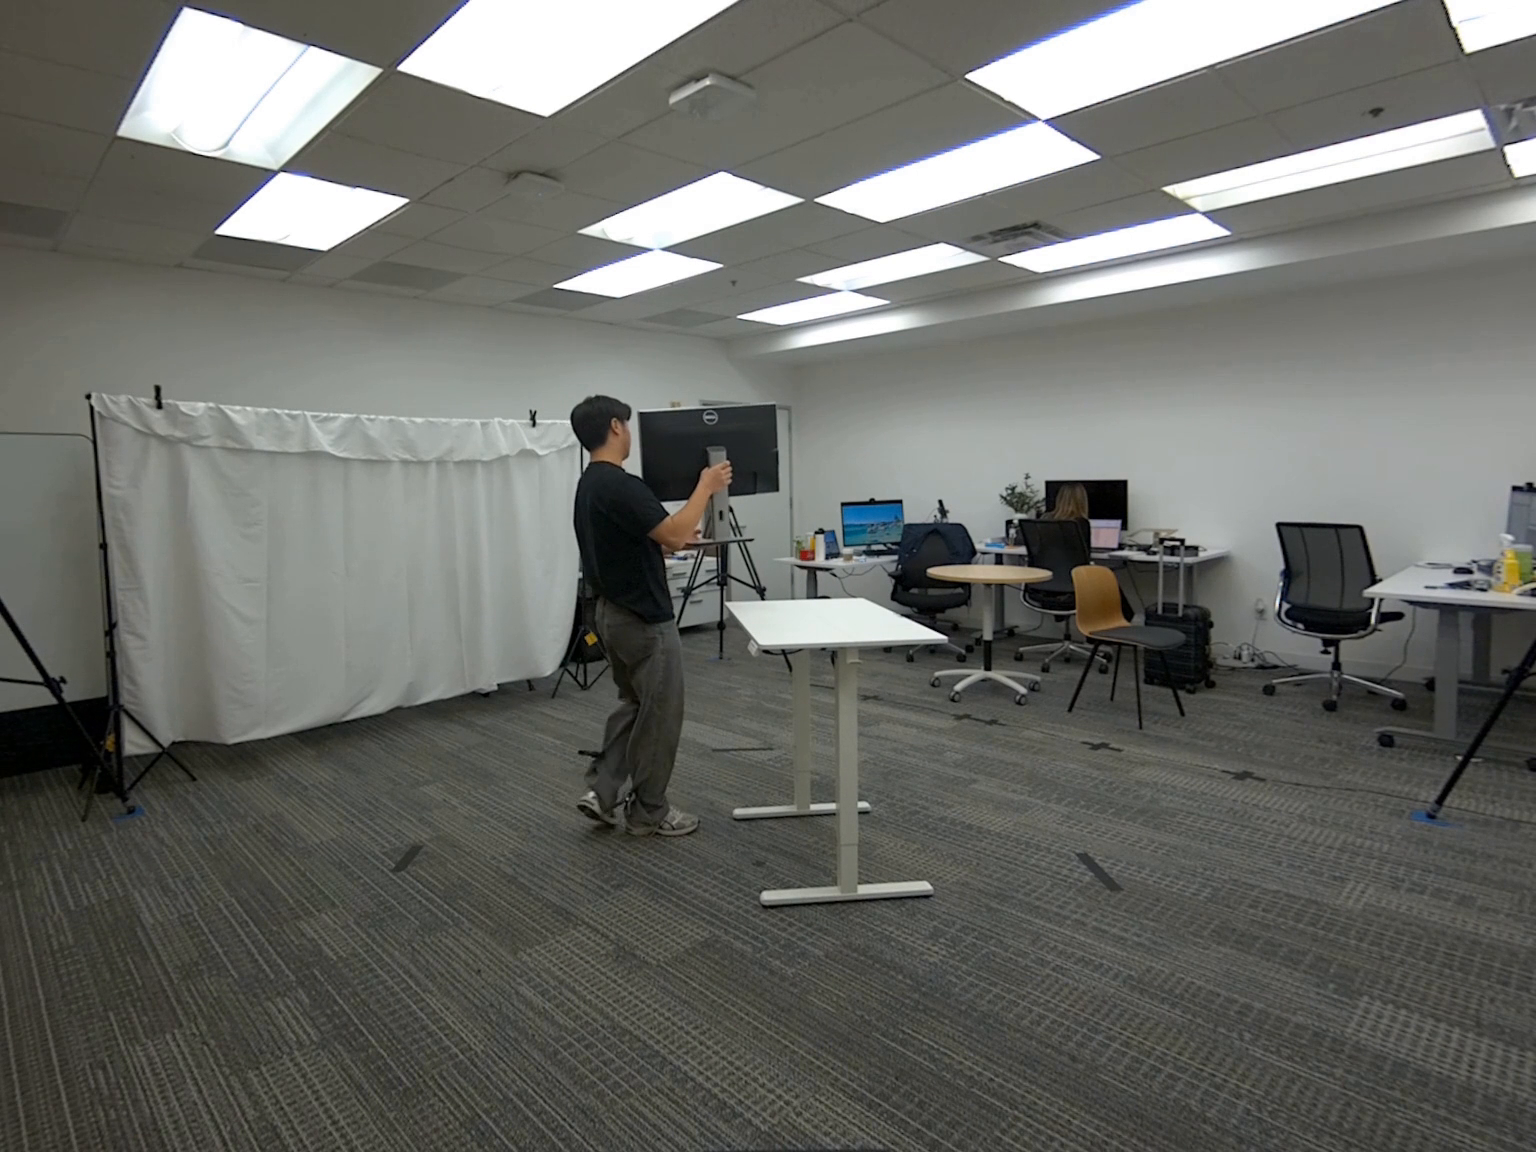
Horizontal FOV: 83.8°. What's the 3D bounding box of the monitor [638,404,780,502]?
[{"bbox_3d":[-0.213,-0.381,3.360,0.557,0.566,0.224,-5,-1,-10],"label":"monitor"}]
